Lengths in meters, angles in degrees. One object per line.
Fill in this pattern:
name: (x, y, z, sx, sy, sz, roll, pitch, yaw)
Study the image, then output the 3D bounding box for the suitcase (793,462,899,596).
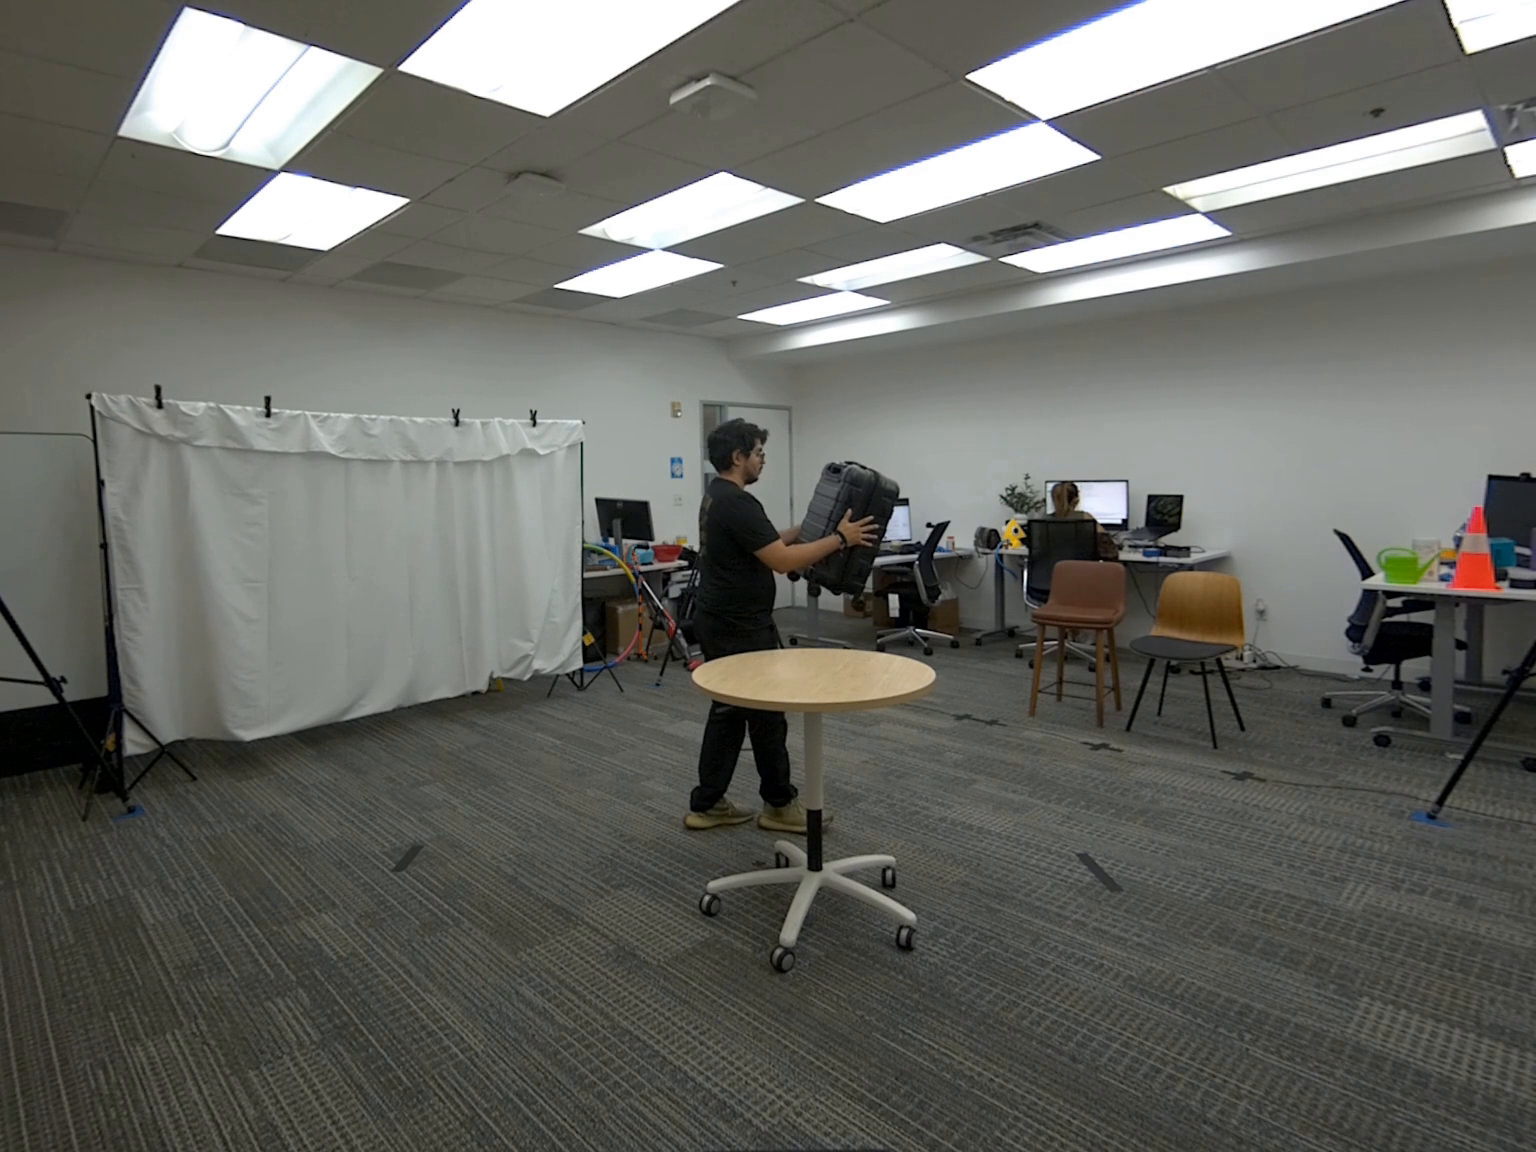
suitcase: (0.303, -0.188, 3.481, 0.244, 0.548, 0.383, 18, 4, -16)
